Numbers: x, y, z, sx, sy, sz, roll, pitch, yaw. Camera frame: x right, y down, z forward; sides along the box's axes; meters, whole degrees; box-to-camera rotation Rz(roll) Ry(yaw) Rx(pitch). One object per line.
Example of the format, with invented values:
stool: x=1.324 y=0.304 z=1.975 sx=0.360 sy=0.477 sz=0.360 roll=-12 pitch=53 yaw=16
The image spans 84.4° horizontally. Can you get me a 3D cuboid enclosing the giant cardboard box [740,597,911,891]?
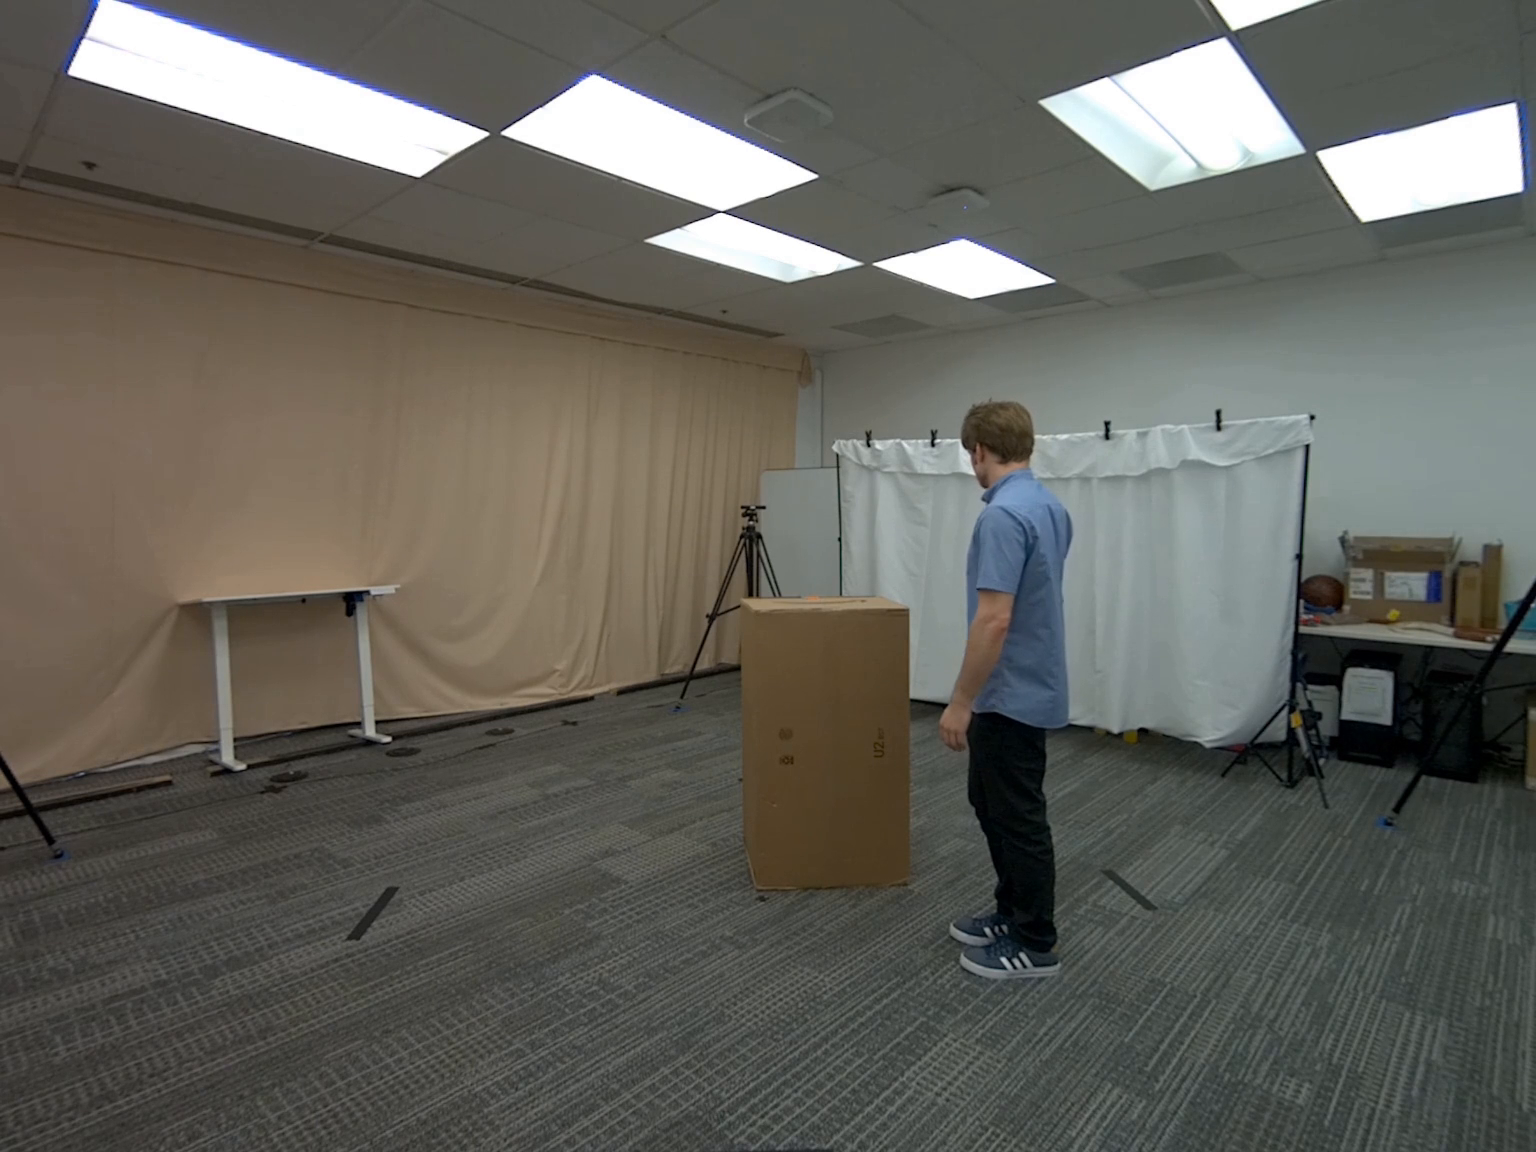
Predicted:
giant cardboard box: x=0.210 y=0.610 z=3.253 sx=0.575 sy=1.024 sz=0.429 roll=0 pitch=3 yaw=-5
